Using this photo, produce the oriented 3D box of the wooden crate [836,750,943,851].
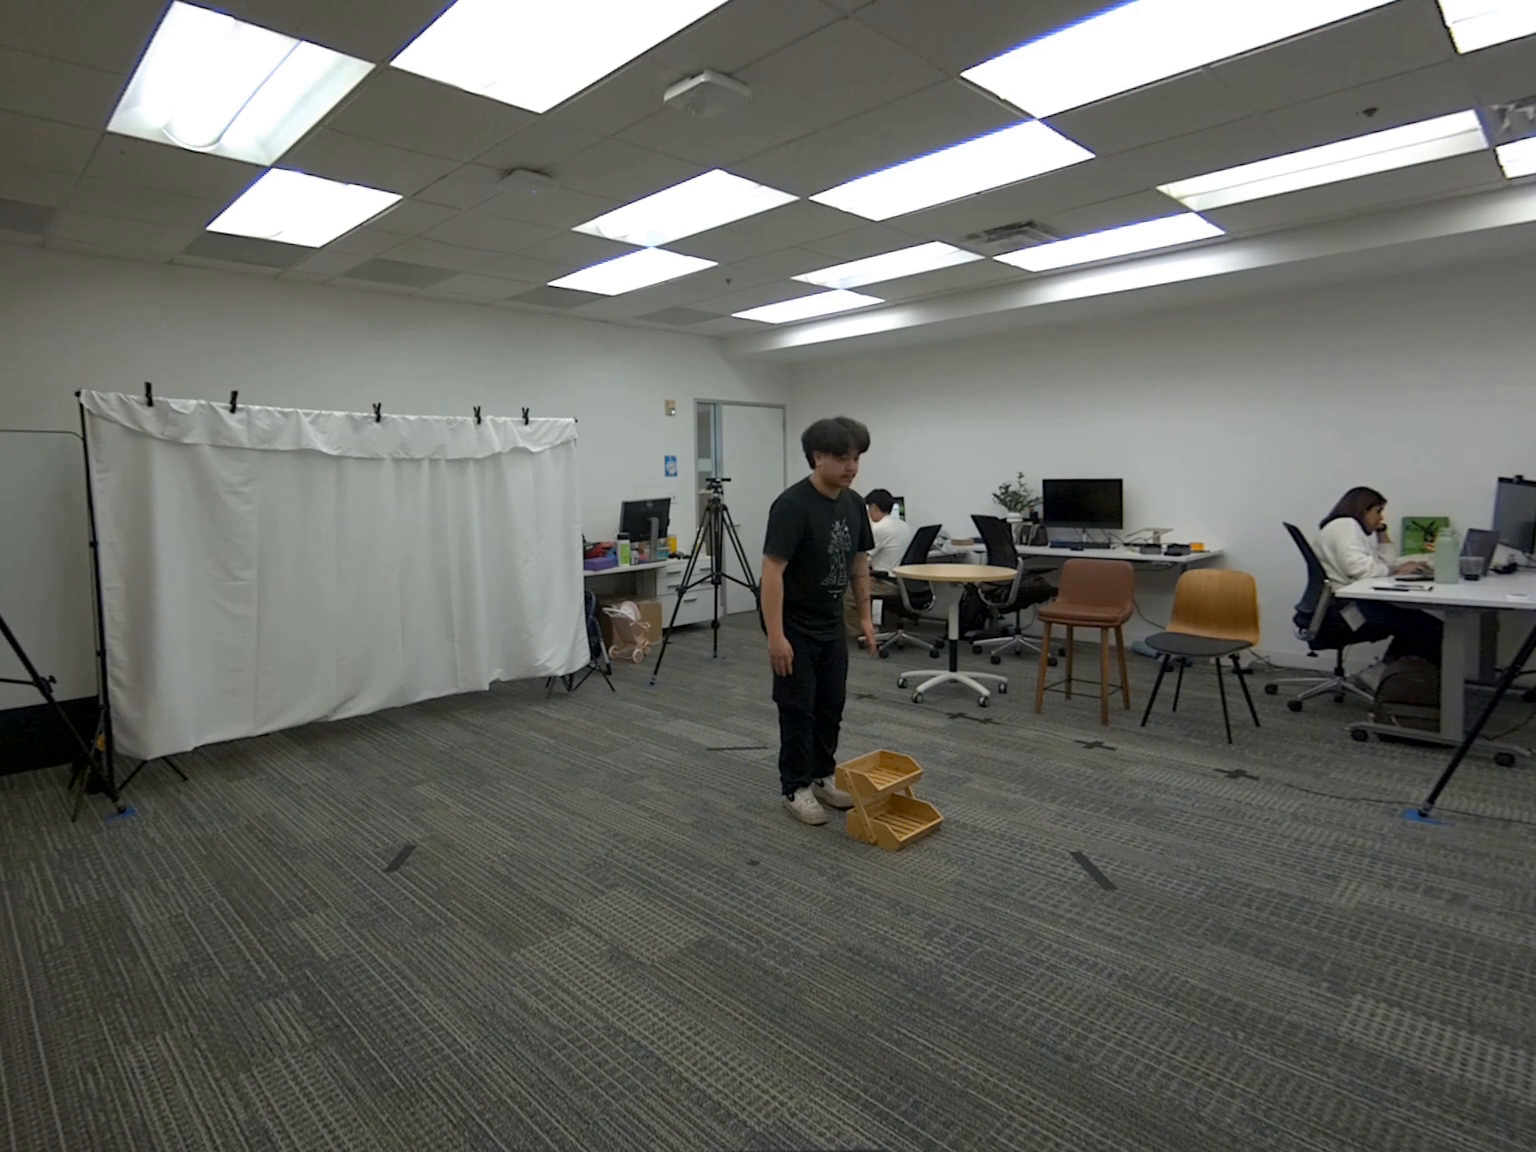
[{"bbox_3d":[0.477,0.864,3.360,0.311,0.272,0.316,4,7,44],"label":"wooden crate"}]
